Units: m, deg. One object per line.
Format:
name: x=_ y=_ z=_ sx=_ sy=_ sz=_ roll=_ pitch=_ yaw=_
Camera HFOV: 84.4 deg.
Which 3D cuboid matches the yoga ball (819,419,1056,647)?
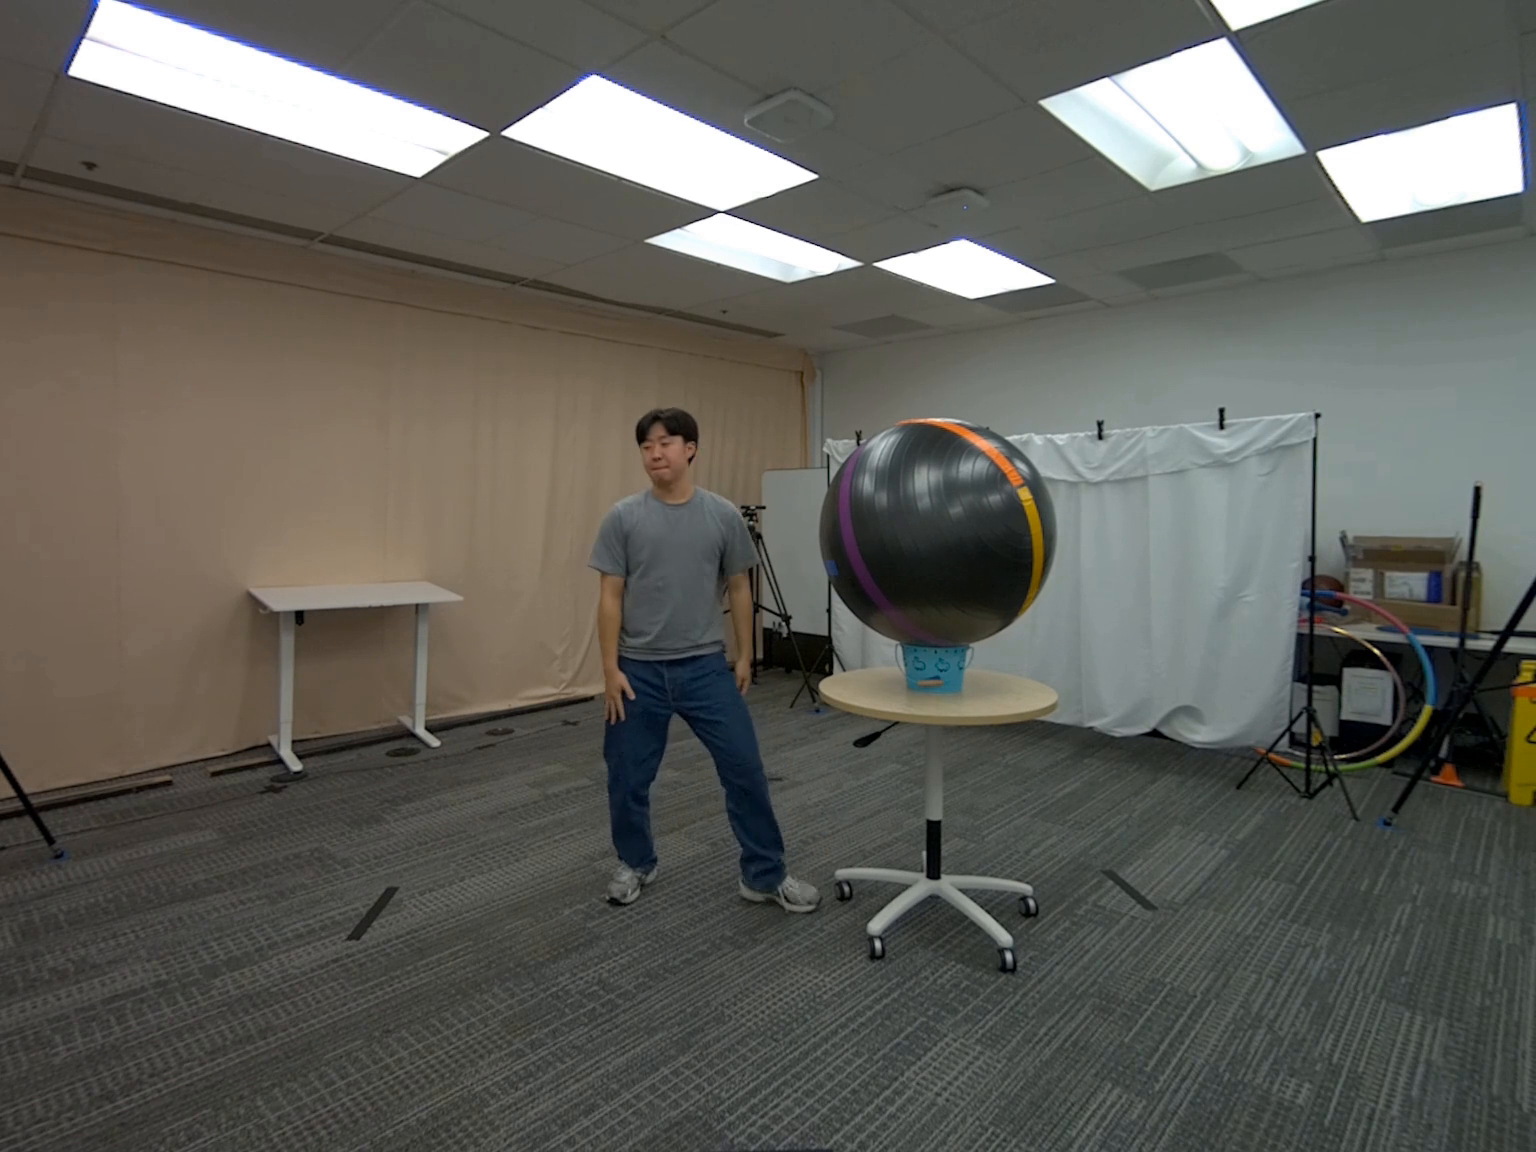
yoga ball: x=0.560 y=-0.136 z=2.793 sx=0.757 sy=0.756 sz=0.760 roll=0 pitch=4 yaw=-2
